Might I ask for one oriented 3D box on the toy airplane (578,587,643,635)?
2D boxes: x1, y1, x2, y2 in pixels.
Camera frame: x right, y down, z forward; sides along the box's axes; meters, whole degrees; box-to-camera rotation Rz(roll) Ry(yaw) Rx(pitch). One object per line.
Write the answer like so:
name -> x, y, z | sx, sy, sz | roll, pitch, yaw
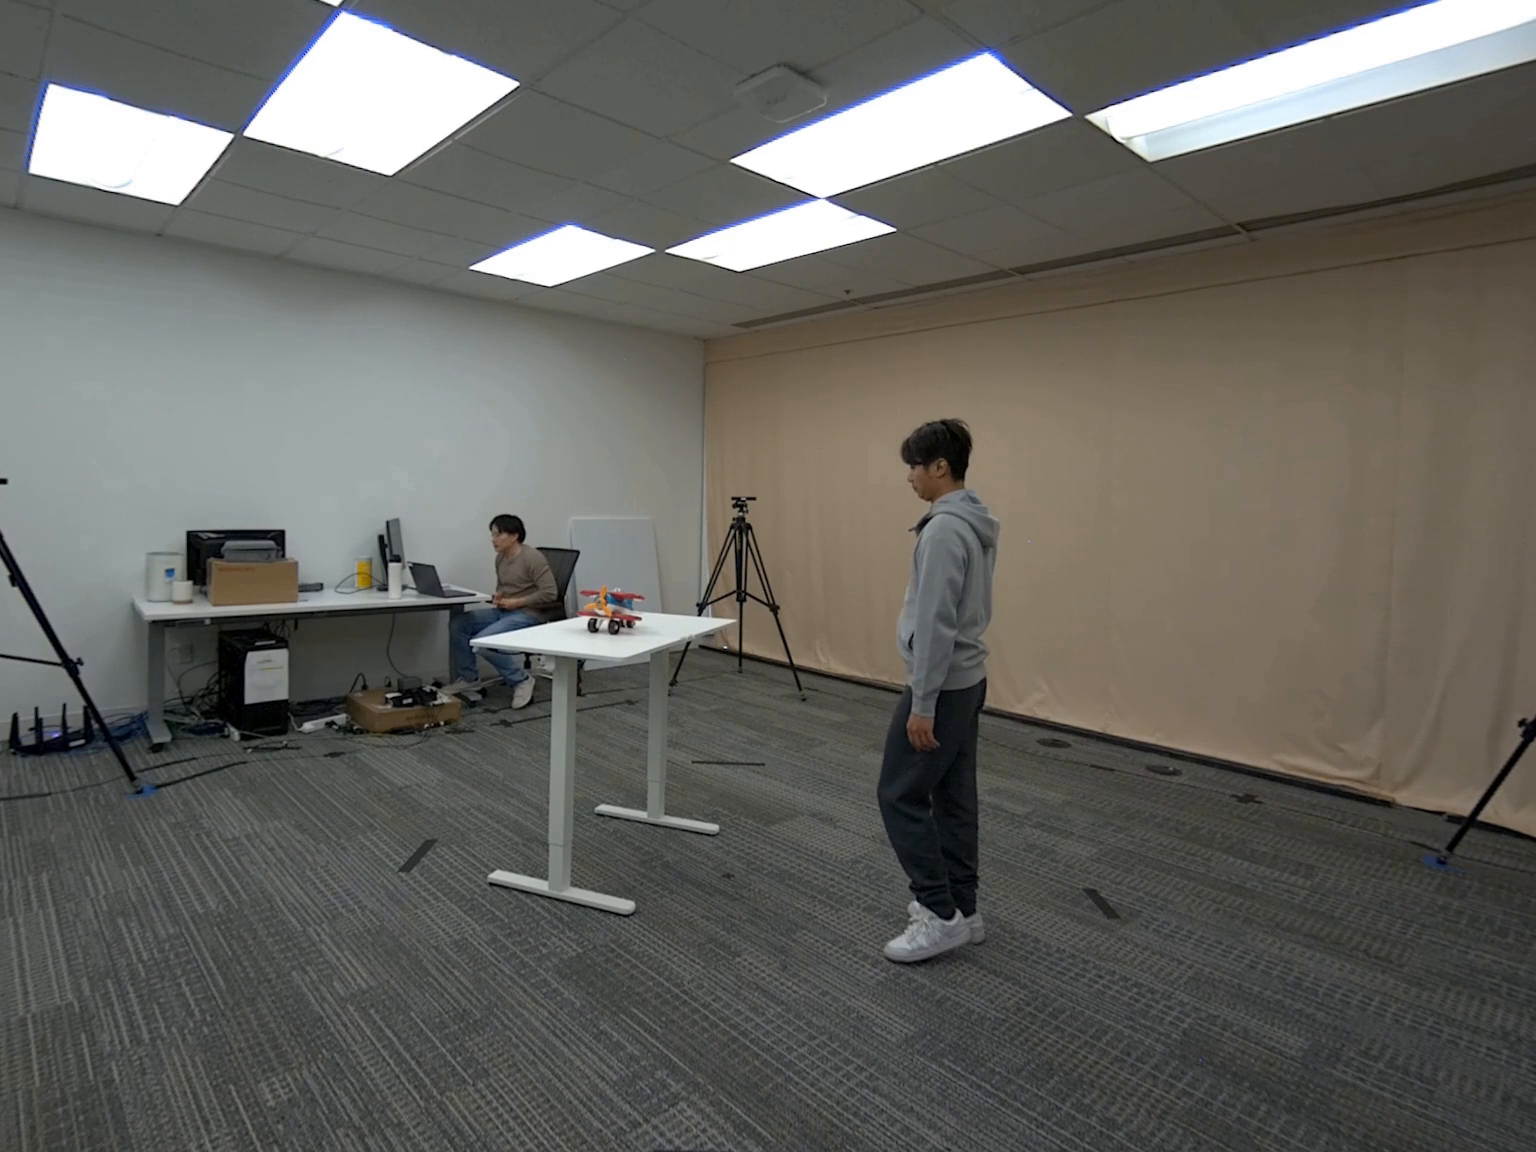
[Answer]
toy airplane -> -0.603, 0.131, 3.199 | 0.249, 0.156, 0.261 | 1, 4, -9
